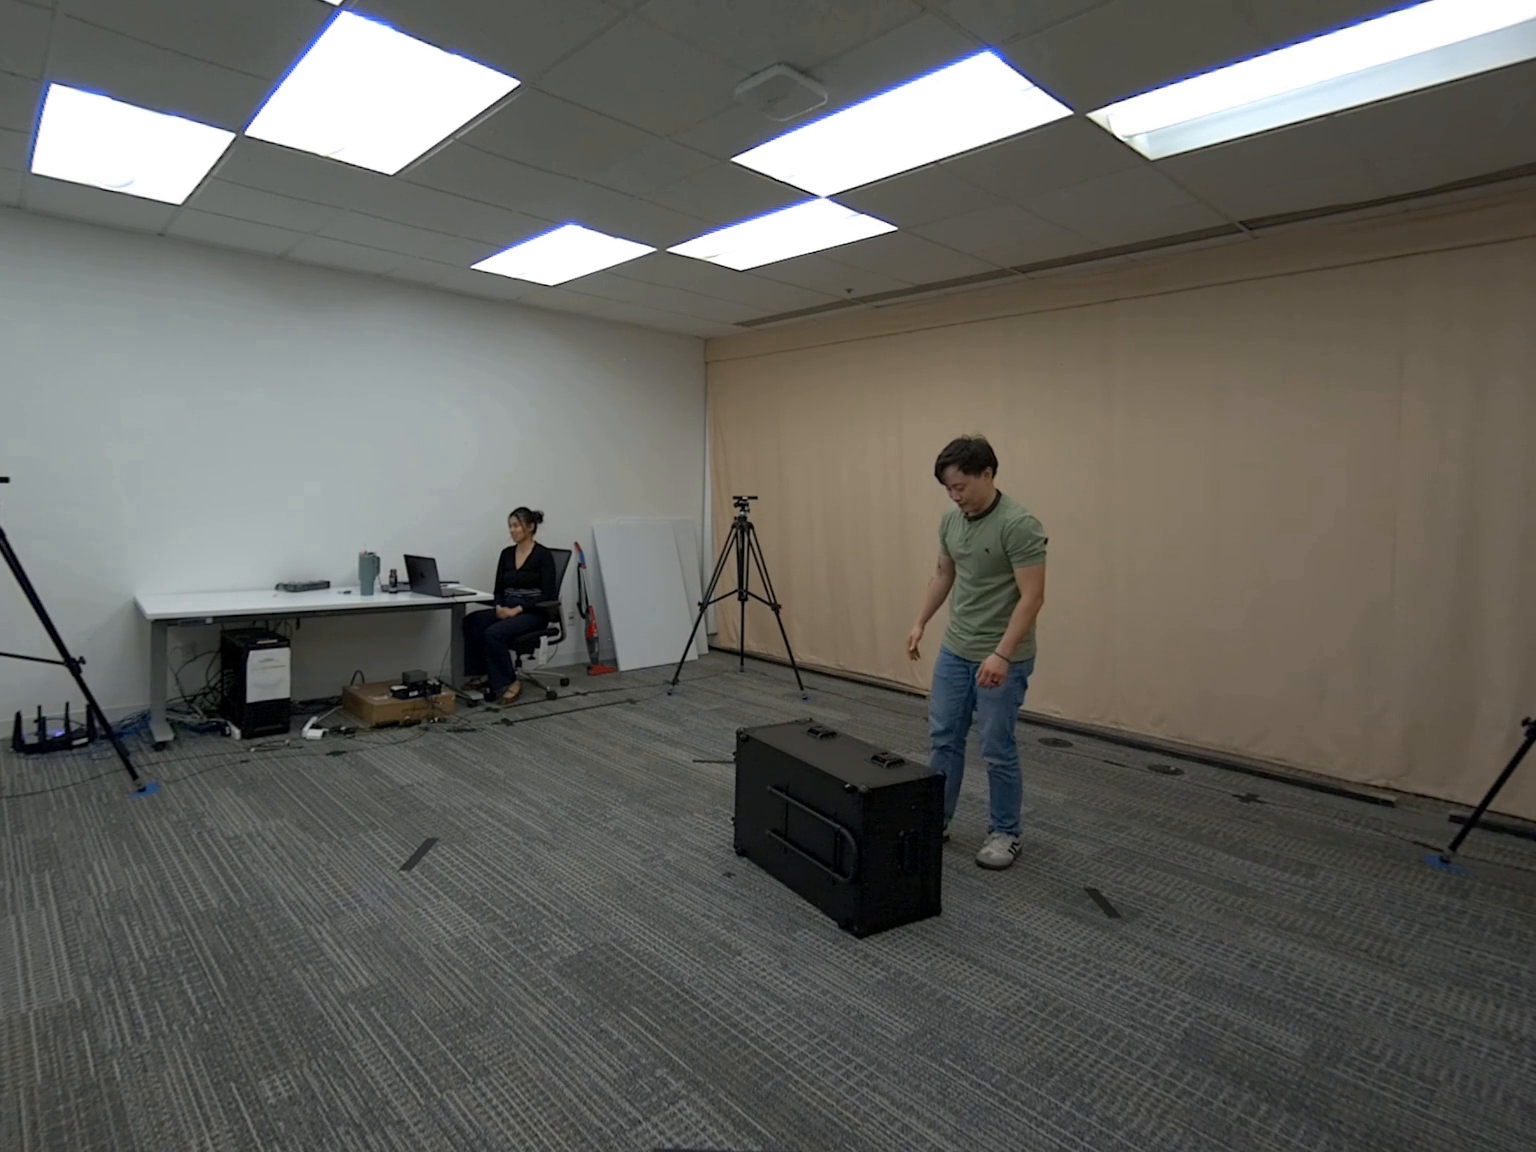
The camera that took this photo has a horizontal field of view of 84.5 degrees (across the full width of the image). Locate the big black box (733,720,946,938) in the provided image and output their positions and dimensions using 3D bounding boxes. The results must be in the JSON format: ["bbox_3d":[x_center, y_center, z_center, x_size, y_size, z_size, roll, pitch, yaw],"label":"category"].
[{"bbox_3d":[0.197,0.871,3.091,0.388,0.520,0.881,-1,5,-31],"label":"big black box"}]
